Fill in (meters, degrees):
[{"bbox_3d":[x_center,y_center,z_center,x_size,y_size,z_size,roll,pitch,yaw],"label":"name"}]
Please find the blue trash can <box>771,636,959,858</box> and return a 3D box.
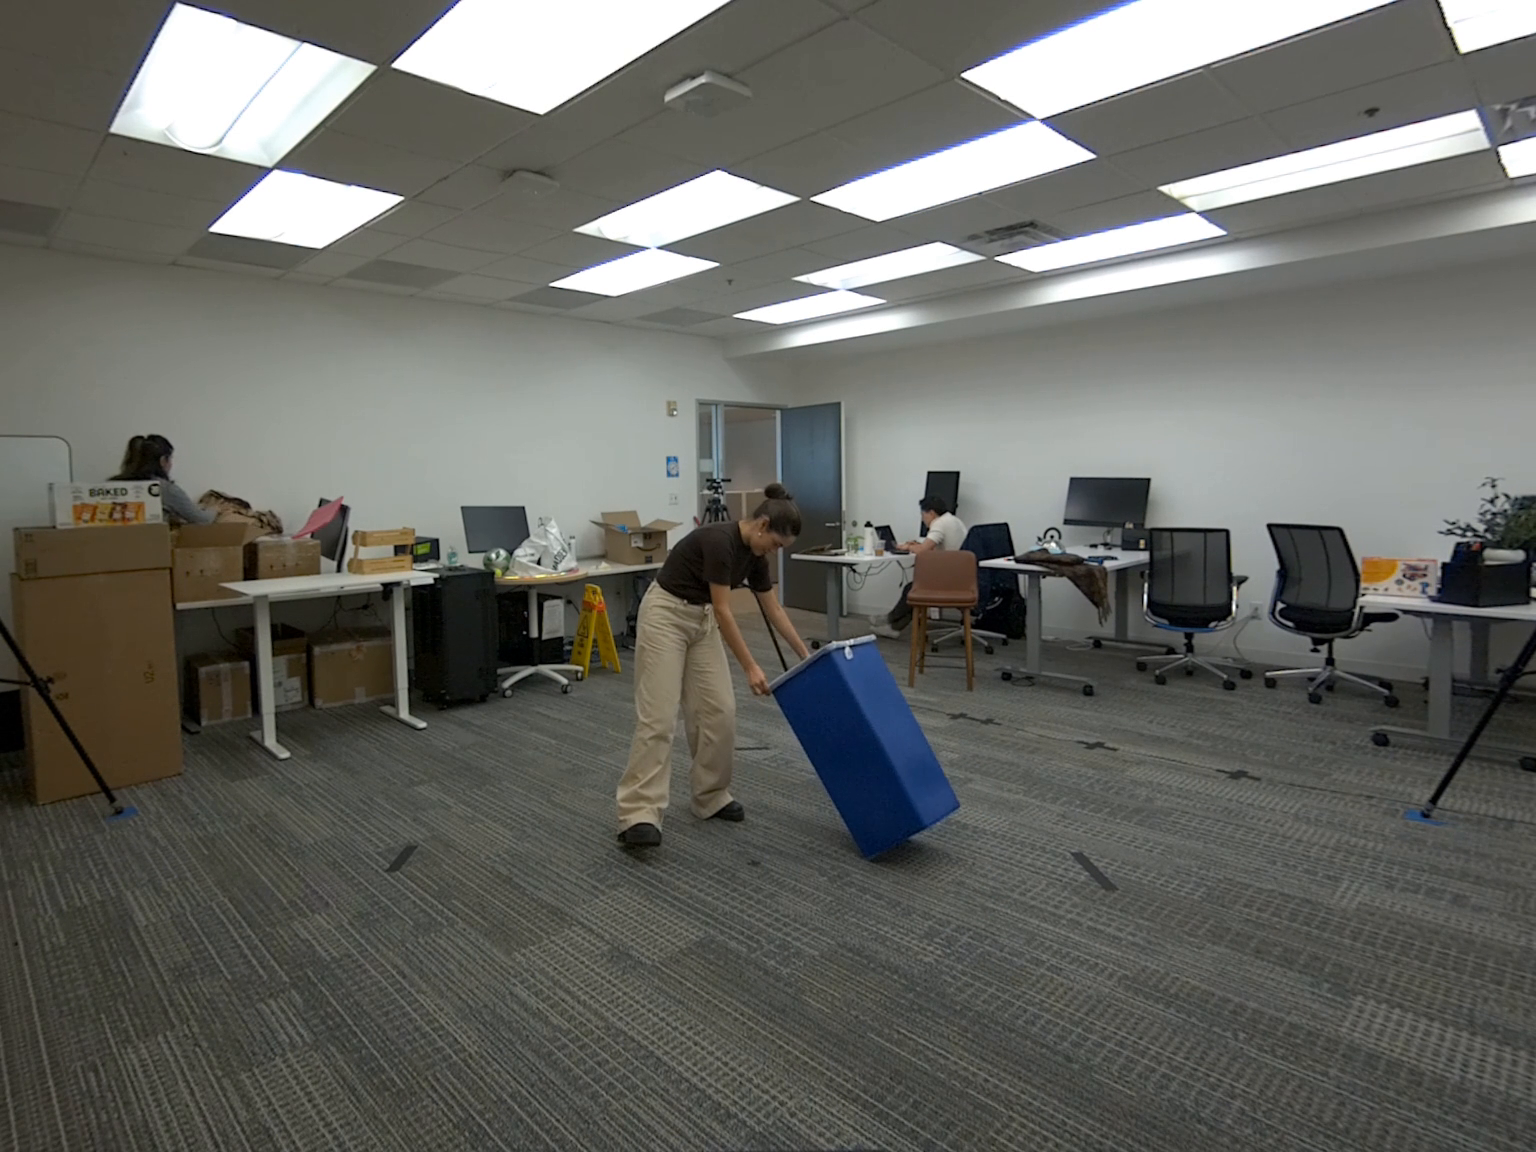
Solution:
[{"bbox_3d":[0.356,0.642,3.249,0.376,0.731,0.367,-39,-23,31],"label":"blue trash can"}]
